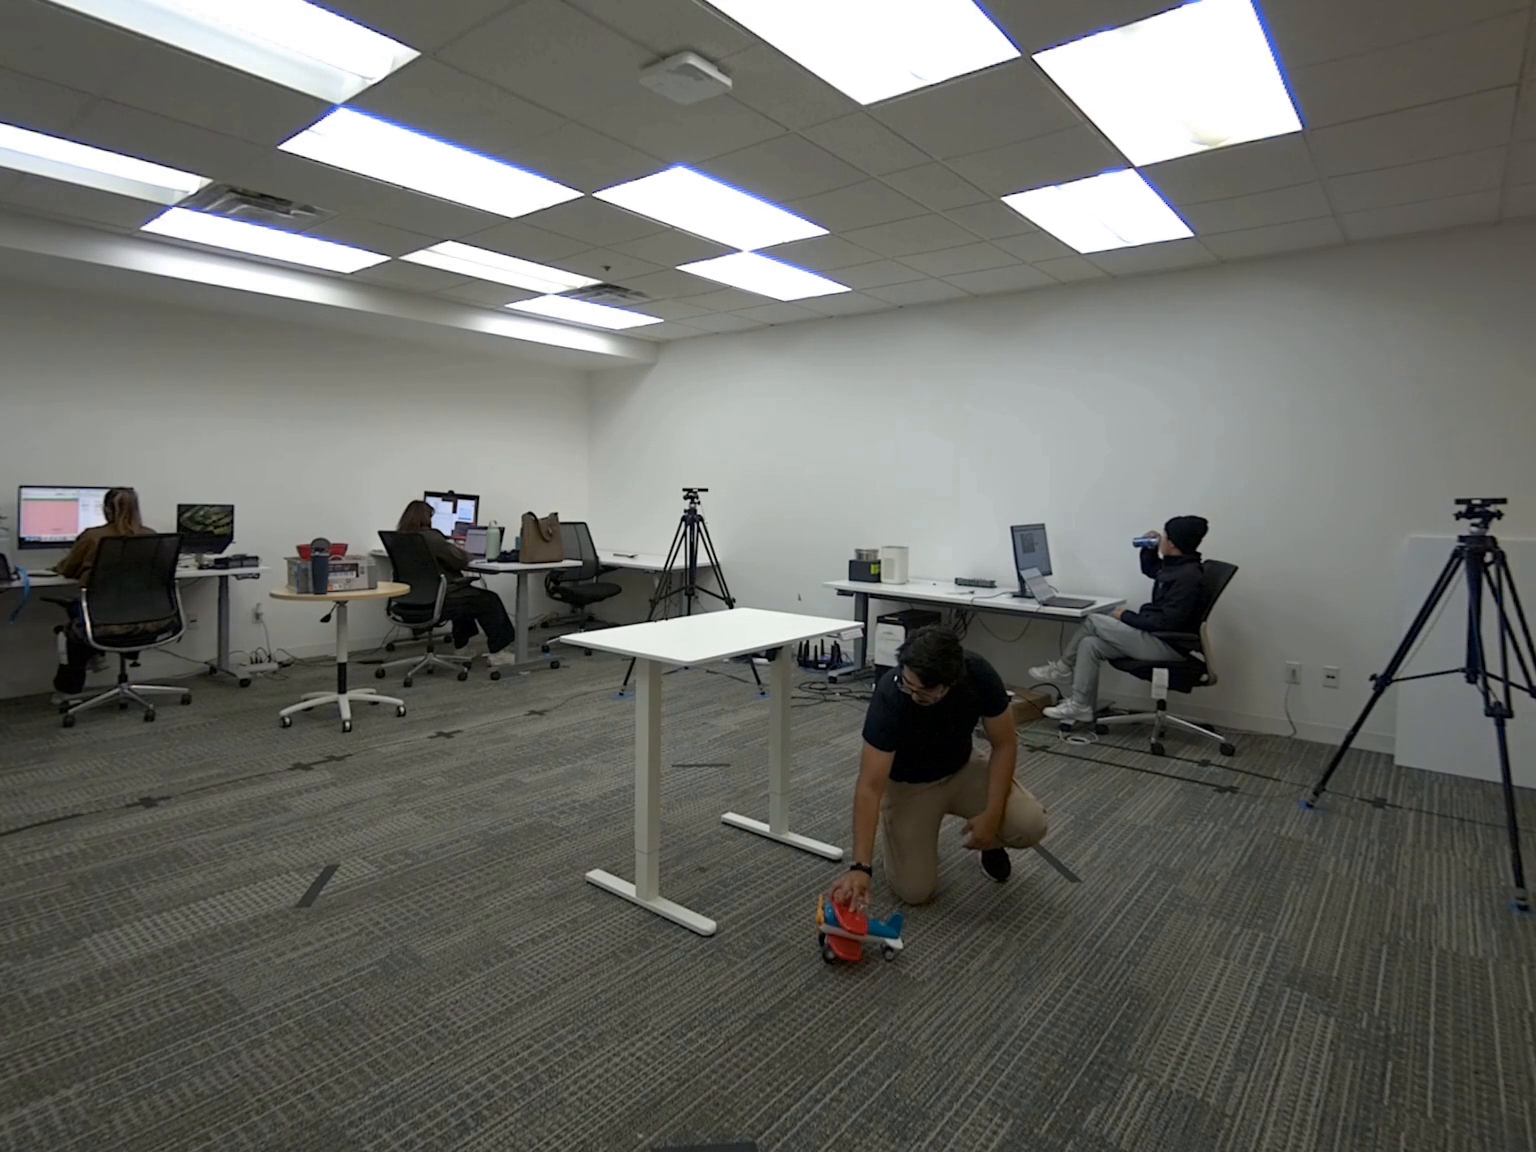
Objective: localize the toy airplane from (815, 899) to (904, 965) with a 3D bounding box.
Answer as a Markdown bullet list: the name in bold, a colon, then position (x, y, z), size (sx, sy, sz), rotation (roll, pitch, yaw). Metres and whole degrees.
- **toy airplane**: position (0.260, 1.058, 2.570), size (0.253, 0.156, 0.259), rotation (-3, 6, -29)
